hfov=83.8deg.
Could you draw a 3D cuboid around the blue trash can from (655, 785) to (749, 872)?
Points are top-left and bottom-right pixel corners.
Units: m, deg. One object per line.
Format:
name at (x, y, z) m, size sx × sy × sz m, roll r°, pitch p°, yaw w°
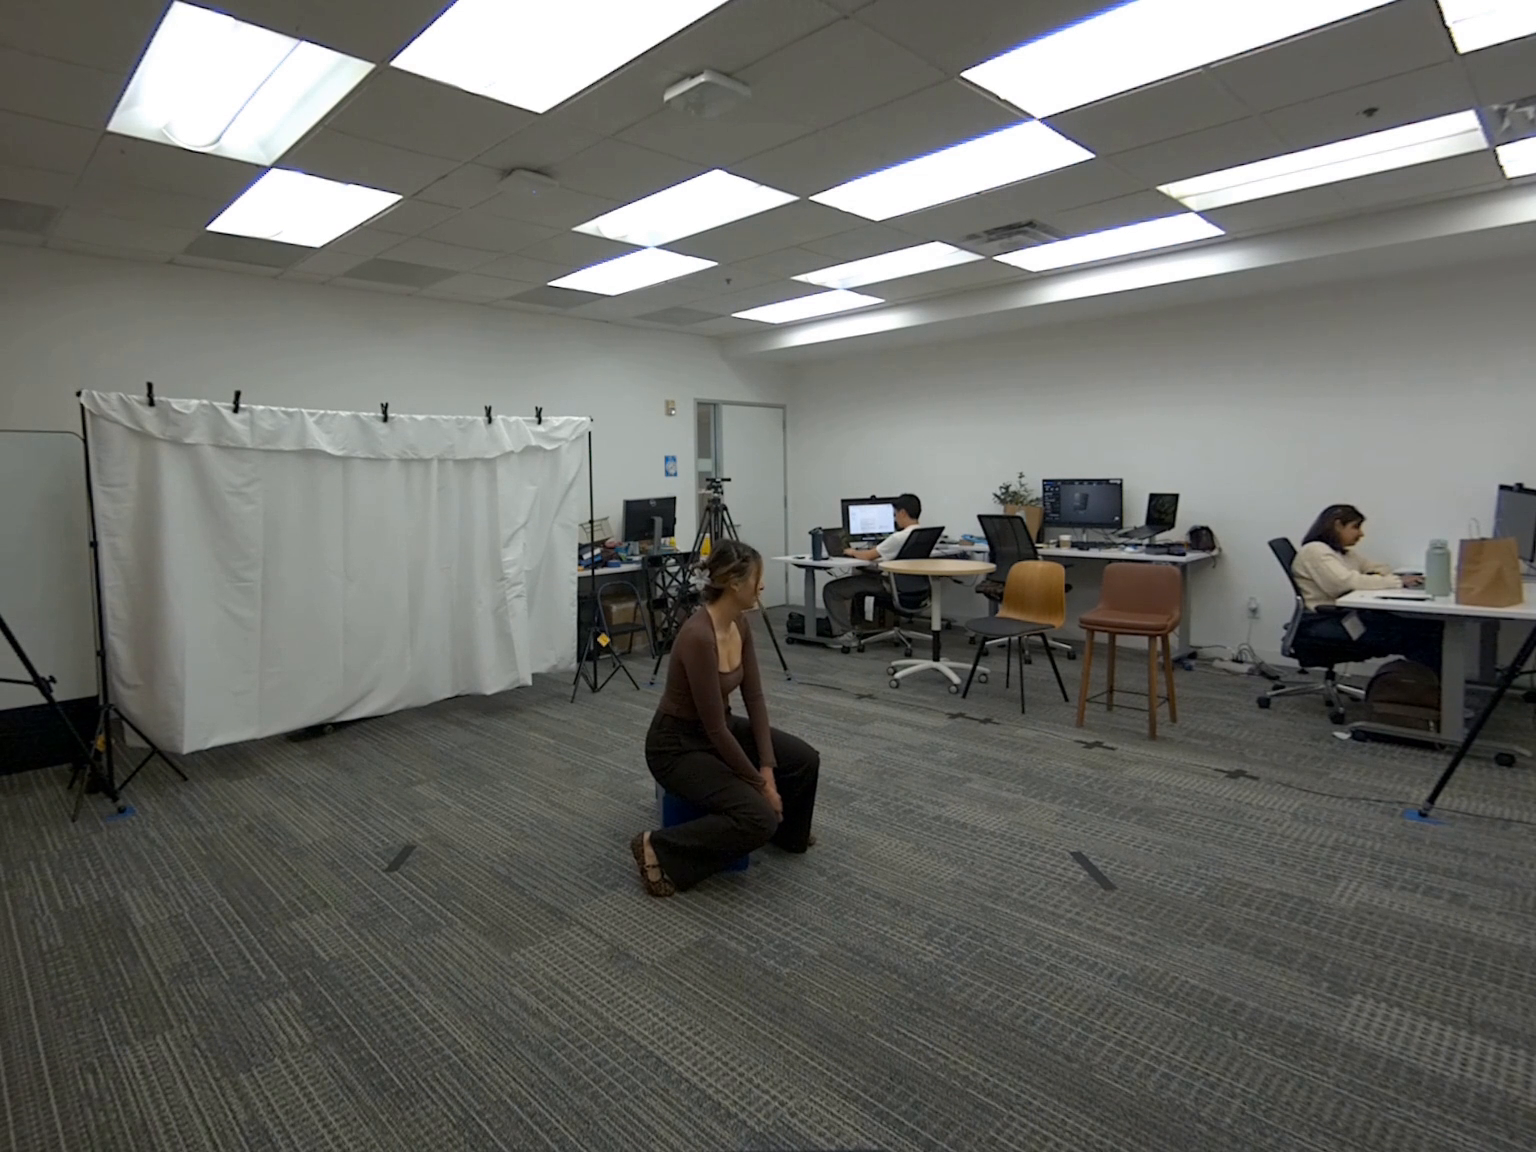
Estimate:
blue trash can at (-0.250, 0.848, 3.377) m, size 0.372 × 0.375 × 0.723 m, roll -1°, pitch 9°, yaw -8°
